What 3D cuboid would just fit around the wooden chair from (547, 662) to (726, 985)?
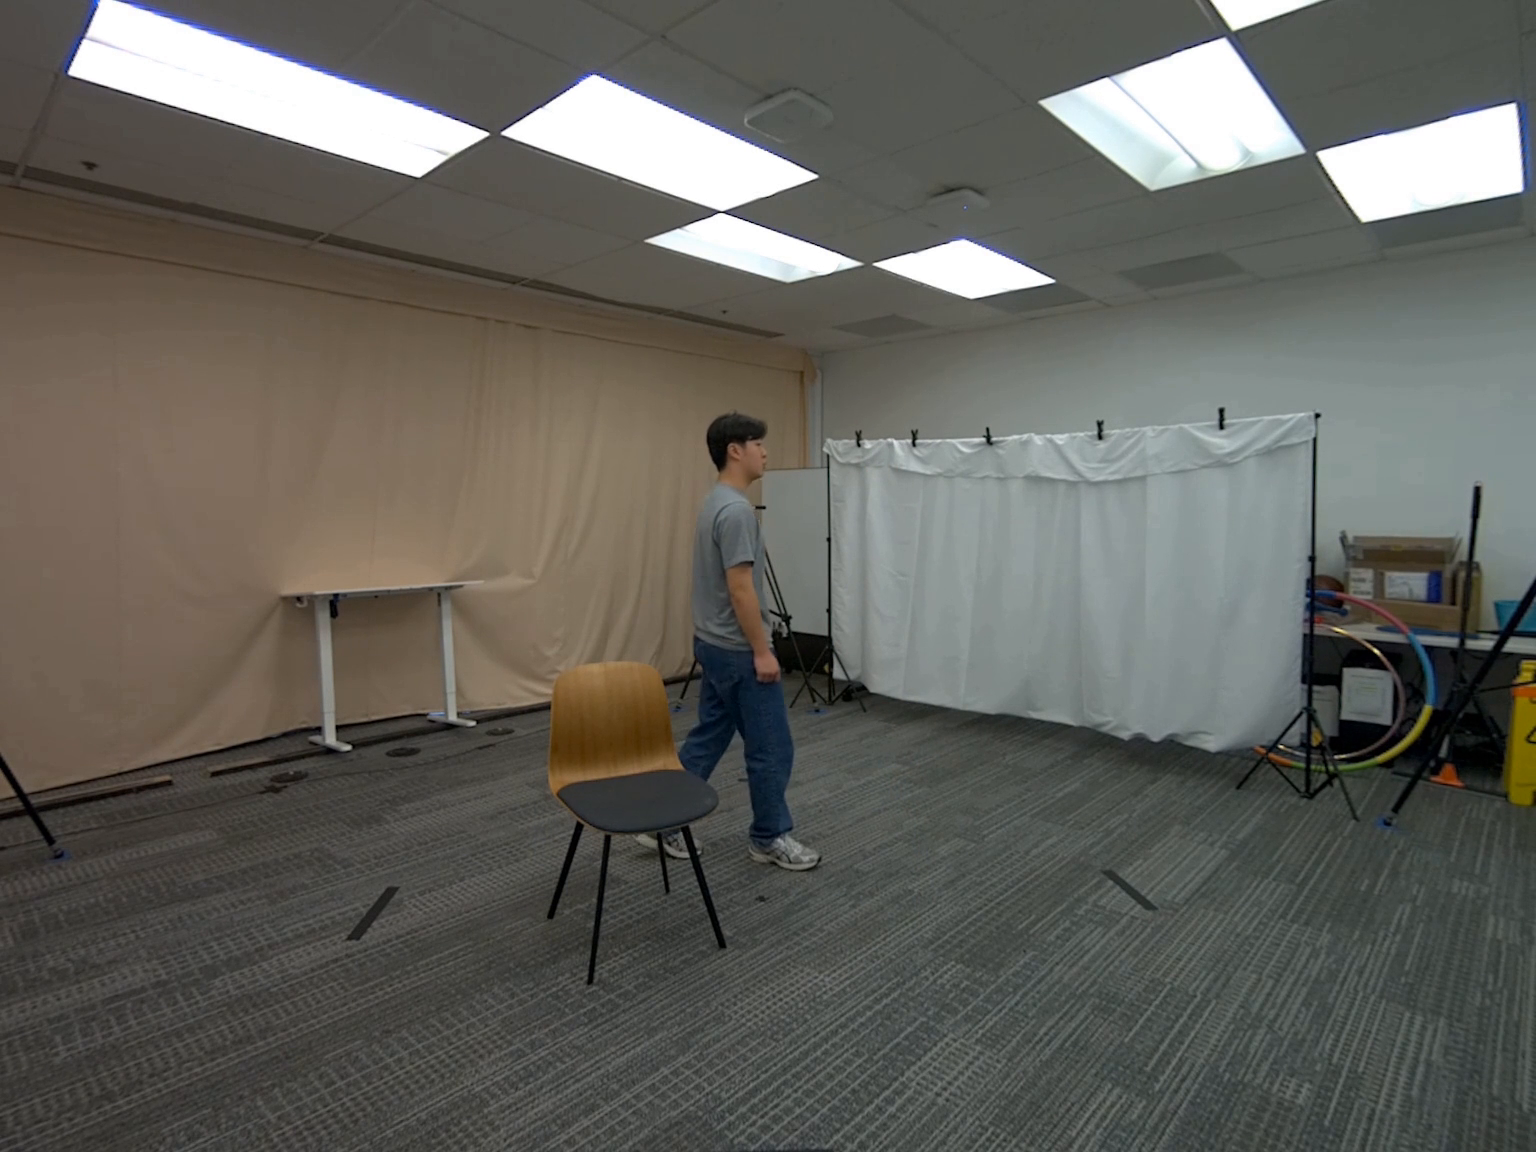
[{"bbox_3d":[-0.438,0.745,2.712,0.466,0.878,0.536,-2,0,-28],"label":"wooden chair"}]
